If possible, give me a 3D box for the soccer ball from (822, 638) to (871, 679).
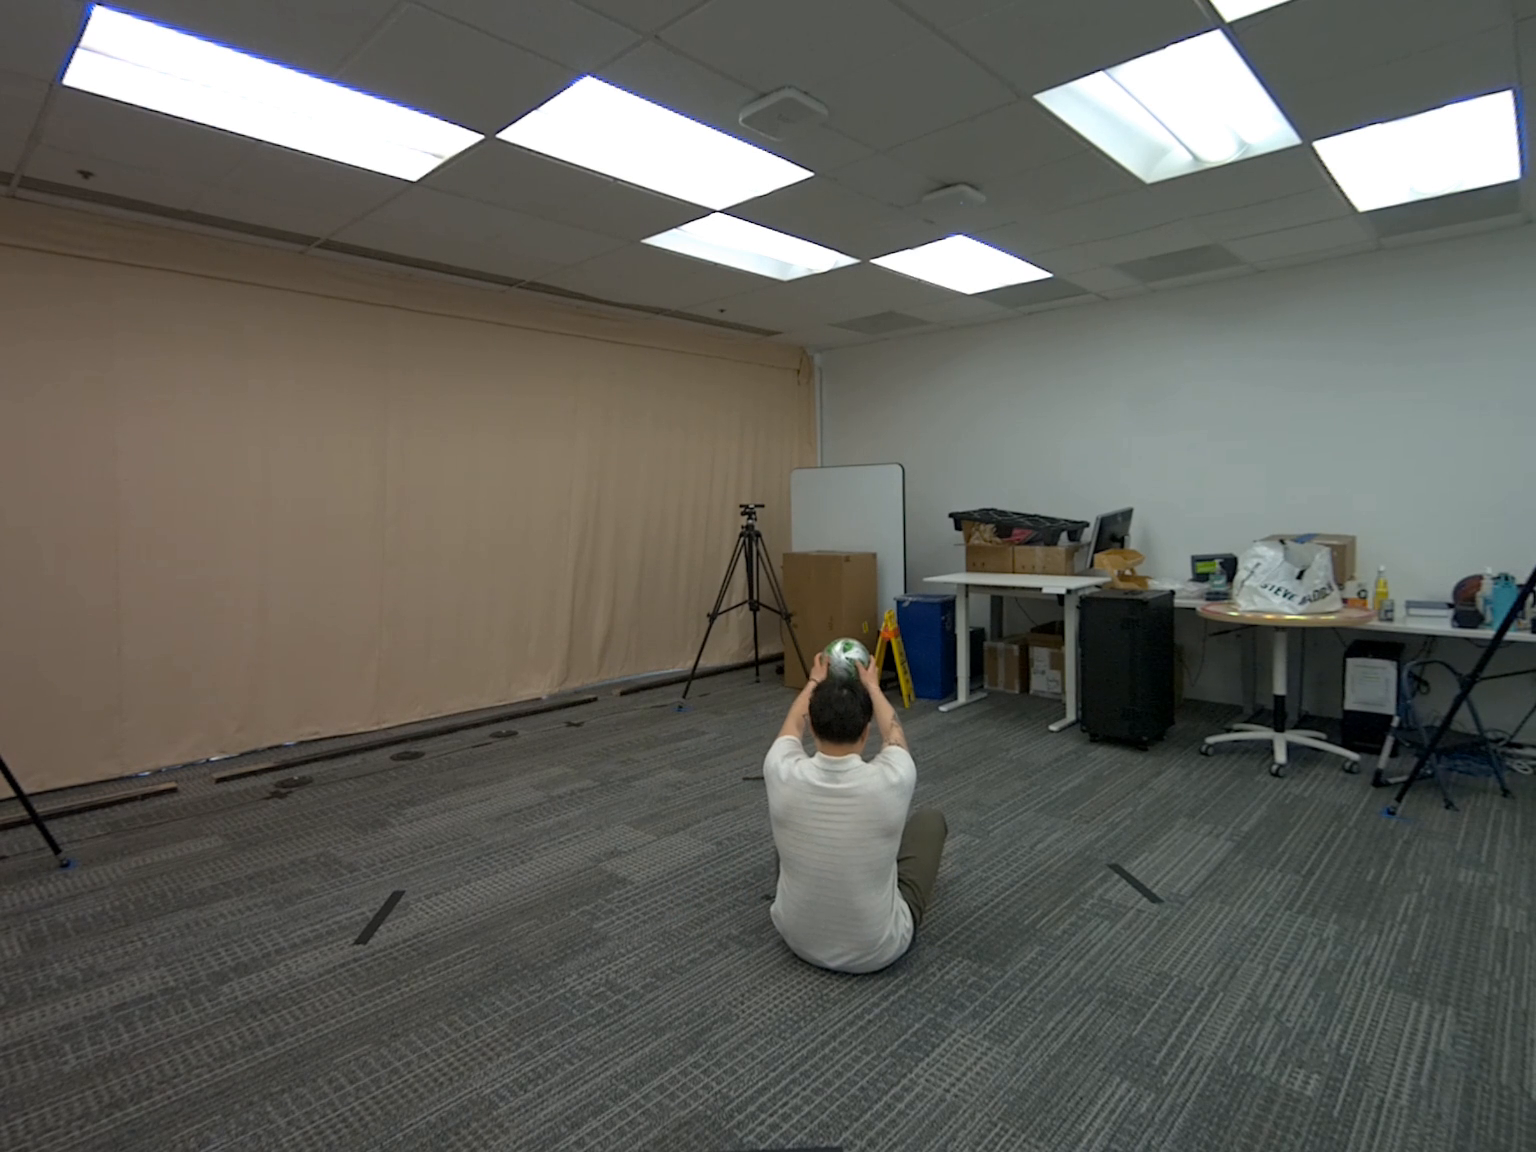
[{"bbox_3d":[0.291,0.335,3.090,0.187,0.187,0.188,-1,4,-2],"label":"soccer ball"}]
